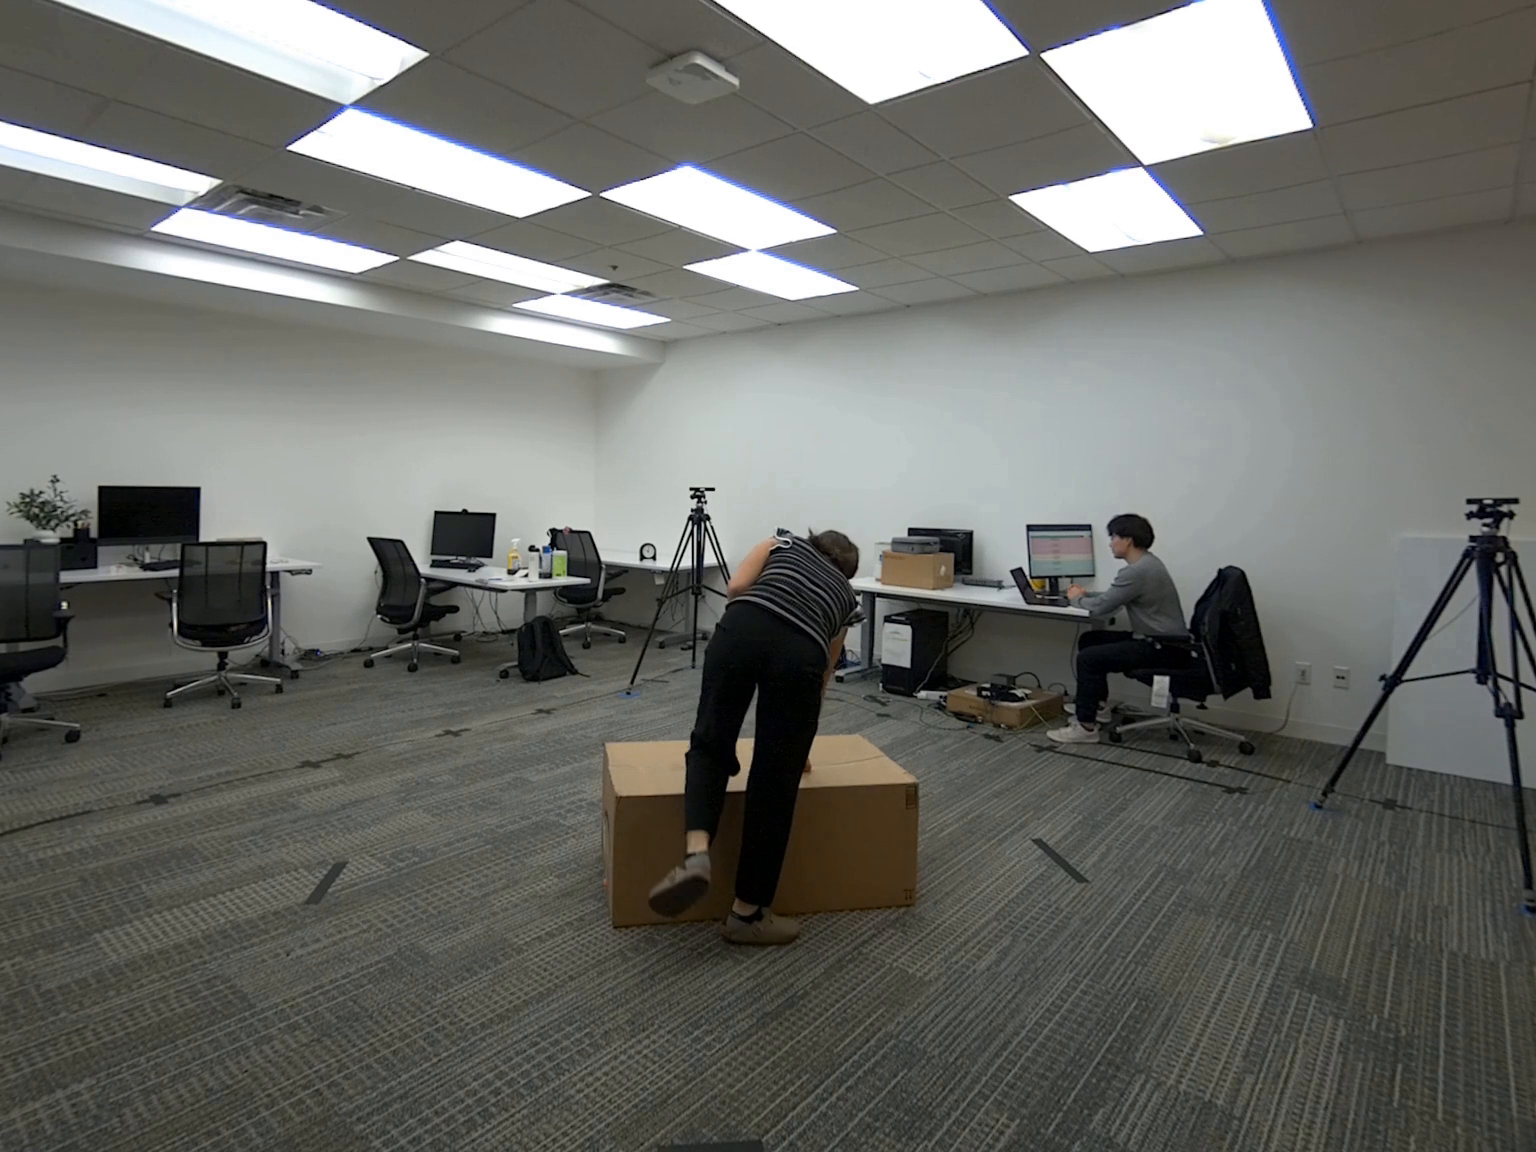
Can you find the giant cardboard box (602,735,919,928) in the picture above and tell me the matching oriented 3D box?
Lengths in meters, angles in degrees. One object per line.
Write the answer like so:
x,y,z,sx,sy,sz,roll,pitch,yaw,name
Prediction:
-0.068,0.867,3.034,1.013,0.425,0.587,0,5,-12,giant cardboard box
